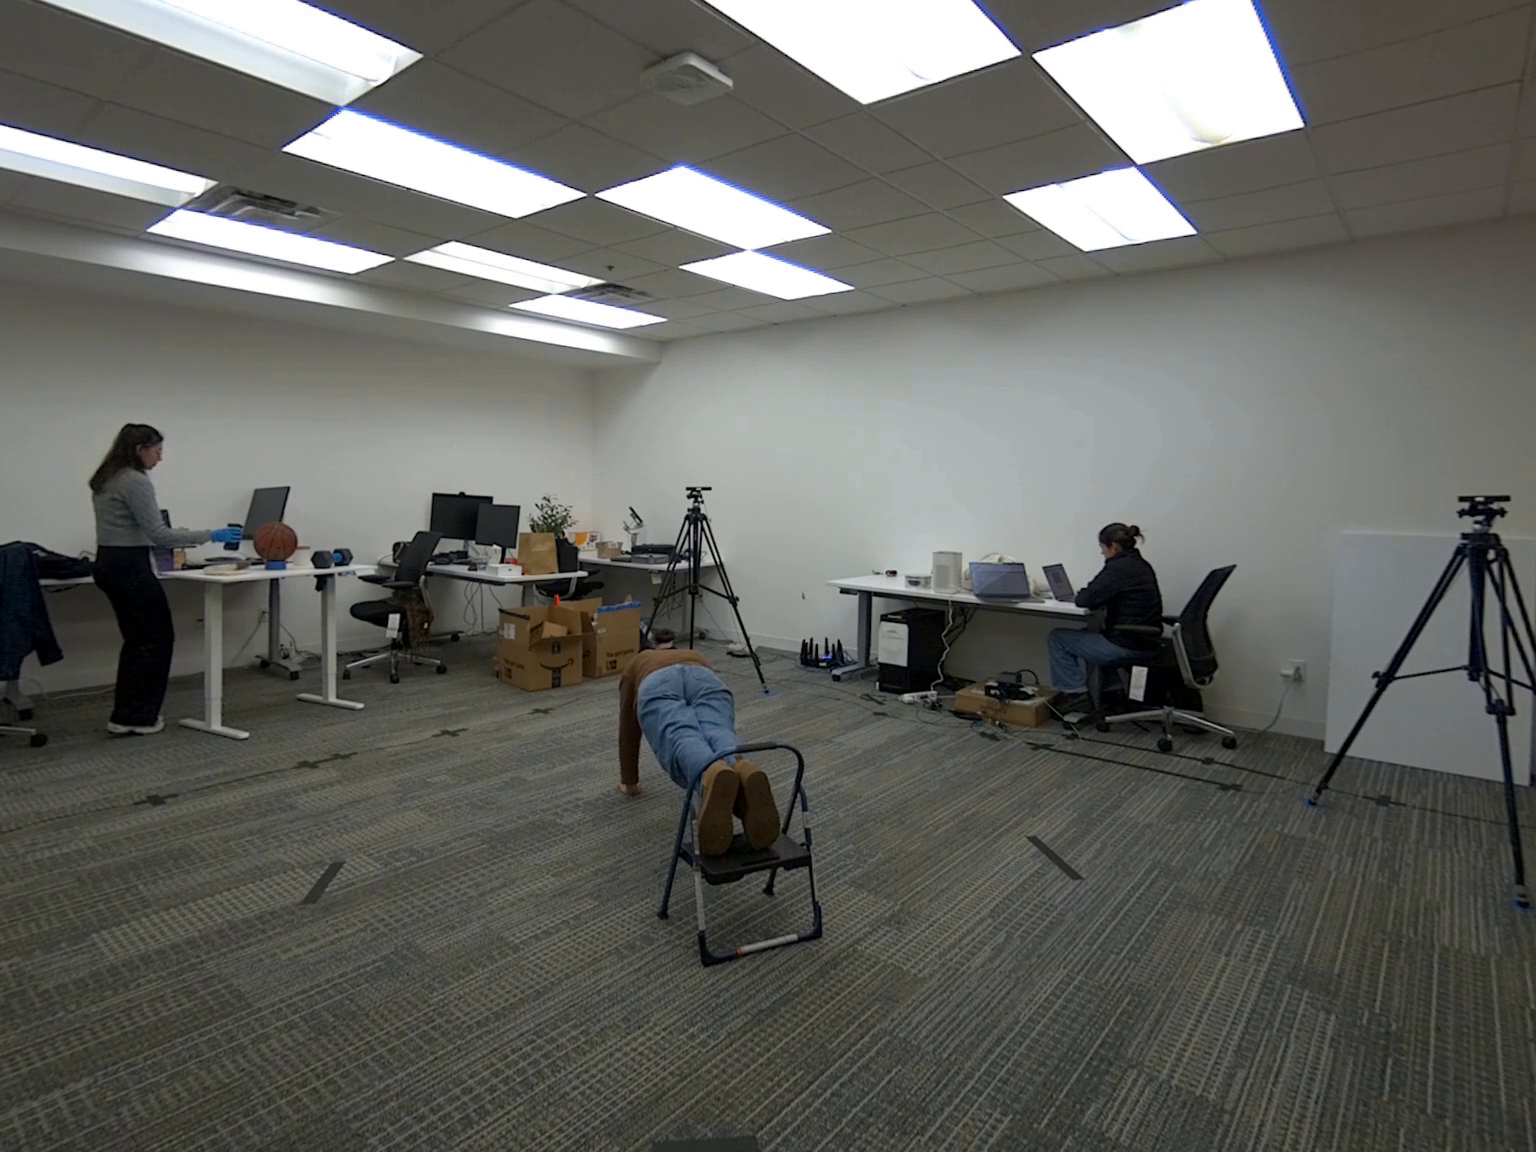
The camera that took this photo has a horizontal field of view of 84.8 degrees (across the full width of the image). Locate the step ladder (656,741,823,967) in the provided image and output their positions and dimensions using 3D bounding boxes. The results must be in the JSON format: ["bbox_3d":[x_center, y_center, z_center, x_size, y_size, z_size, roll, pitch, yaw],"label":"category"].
[{"bbox_3d":[-0.092,0.809,2.688,0.419,0.604,0.360,-1,4,-29],"label":"step ladder"}]
